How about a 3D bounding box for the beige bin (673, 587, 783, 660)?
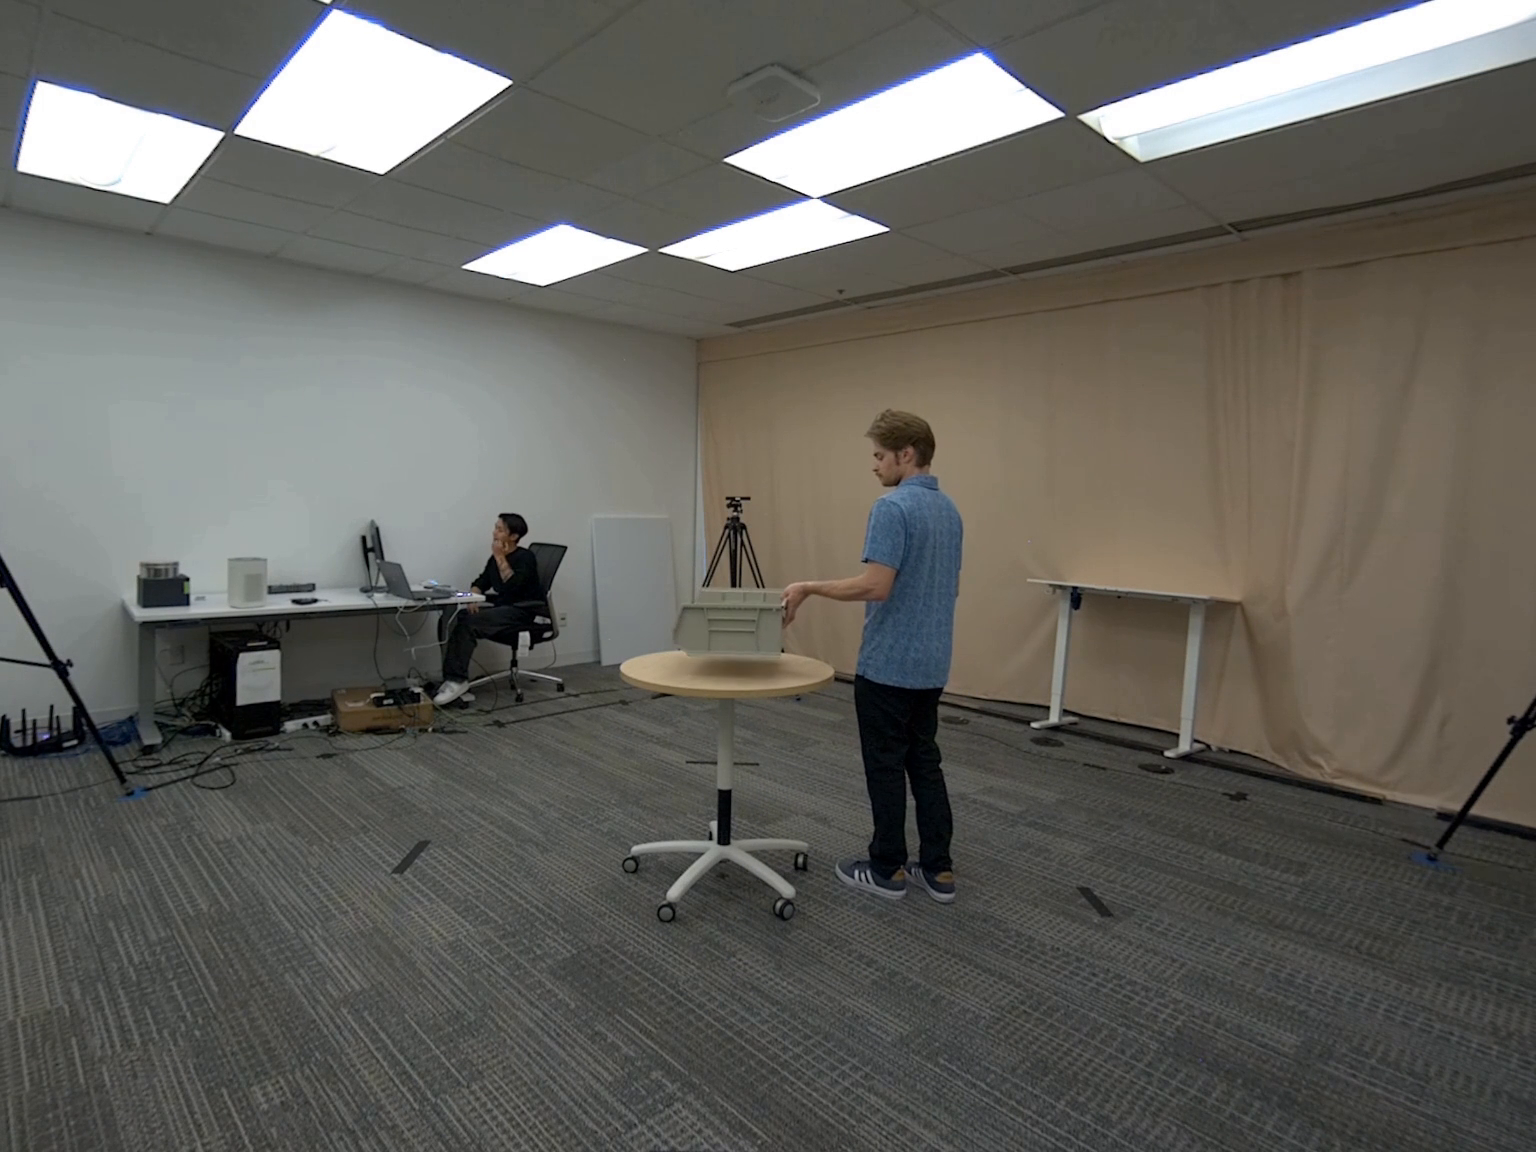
[{"bbox_3d":[-0.134,0.153,2.996,0.379,0.188,0.422,2,6,3],"label":"beige bin"}]
